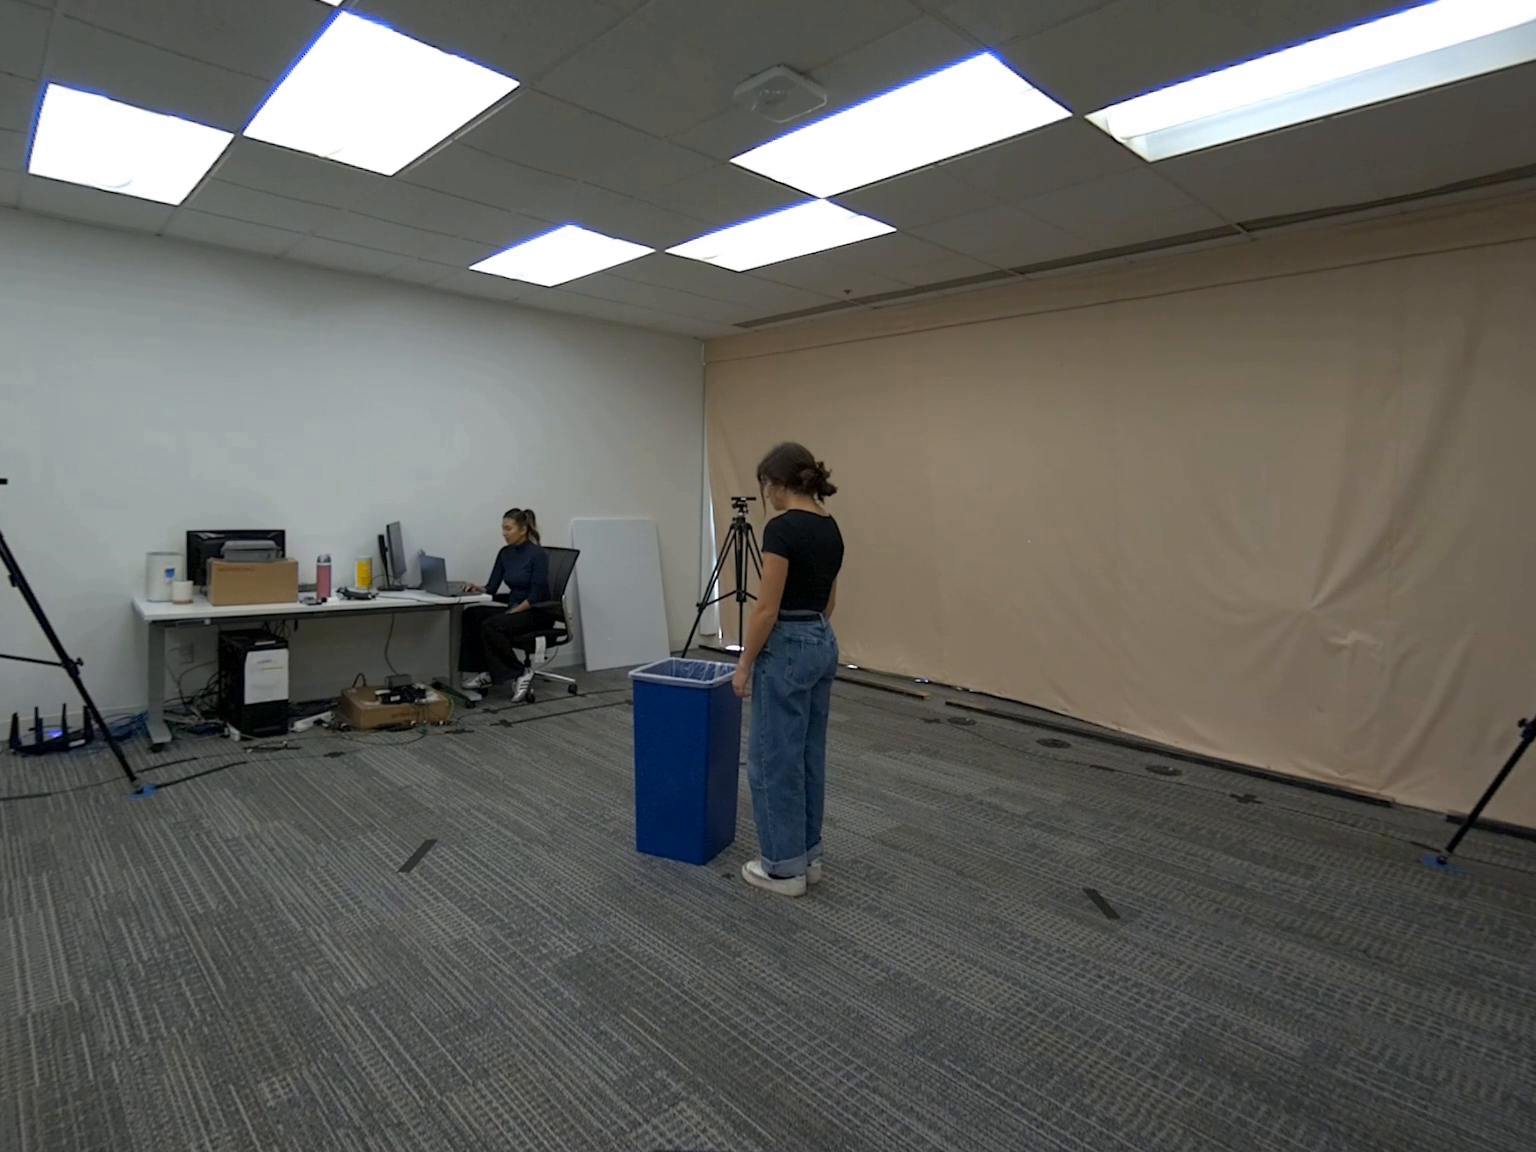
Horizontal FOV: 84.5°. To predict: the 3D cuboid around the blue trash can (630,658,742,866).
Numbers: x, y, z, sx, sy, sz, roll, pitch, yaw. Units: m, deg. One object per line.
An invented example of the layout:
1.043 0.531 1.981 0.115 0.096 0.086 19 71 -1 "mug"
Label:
-0.327 0.722 3.353 0.385 0.712 0.368 2 3 23 "blue trash can"
